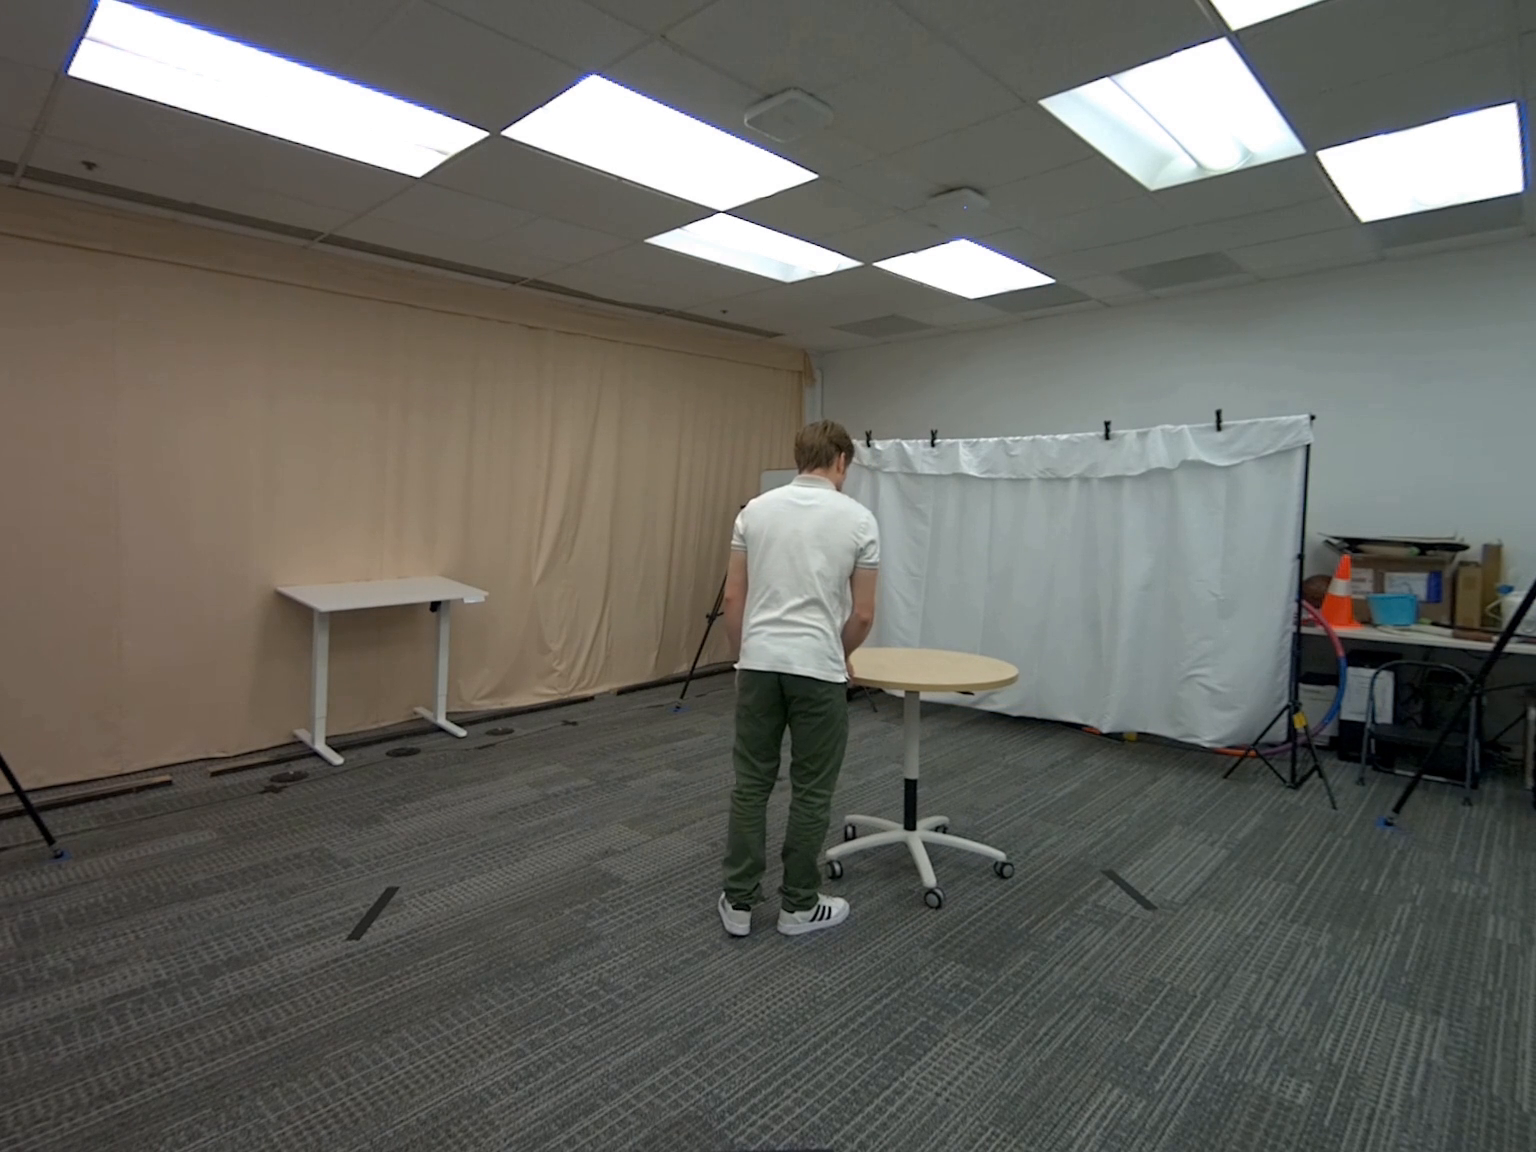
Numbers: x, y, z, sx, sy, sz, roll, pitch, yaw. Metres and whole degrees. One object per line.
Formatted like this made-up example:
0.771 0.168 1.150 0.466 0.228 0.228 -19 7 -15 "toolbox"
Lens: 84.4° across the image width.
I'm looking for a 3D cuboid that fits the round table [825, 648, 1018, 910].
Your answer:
0.560 0.732 3.246 0.763 0.792 0.766 1 3 -2 "round table"
